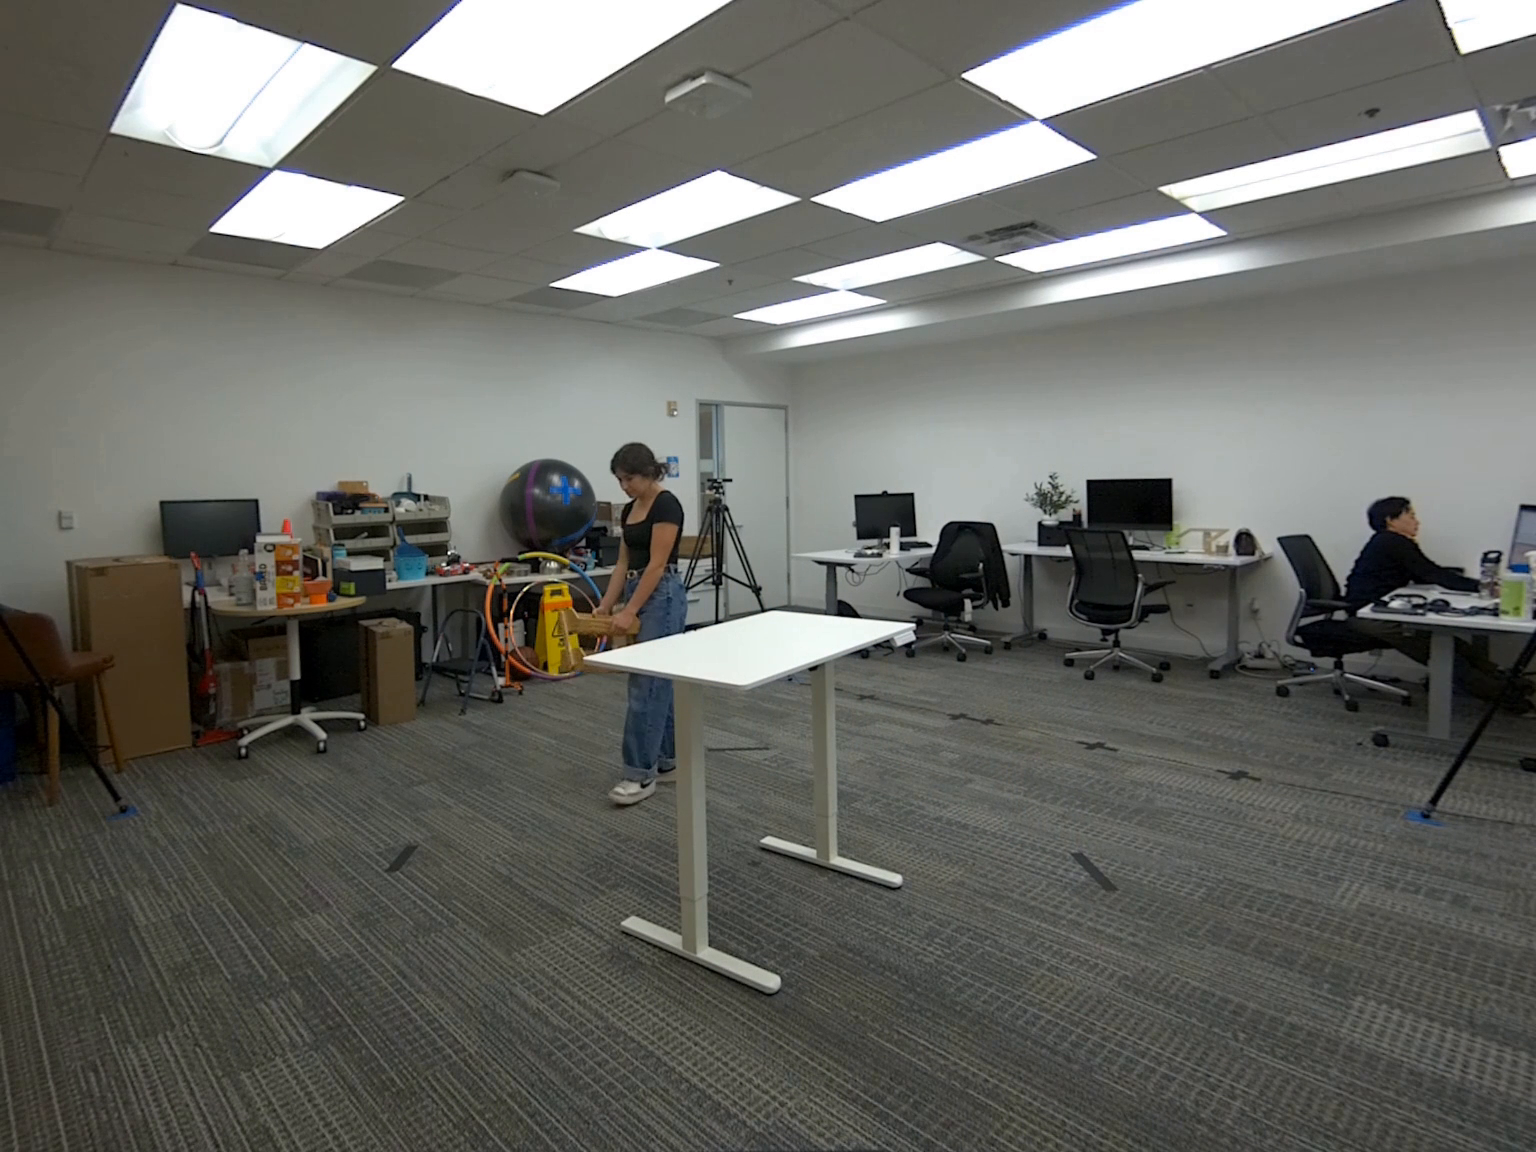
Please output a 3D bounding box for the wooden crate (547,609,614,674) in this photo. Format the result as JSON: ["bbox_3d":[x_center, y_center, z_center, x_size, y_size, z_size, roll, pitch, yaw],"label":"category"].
[{"bbox_3d":[-0.716,0.278,3.692,0.315,0.276,0.308,8,-12,-35],"label":"wooden crate"}]
